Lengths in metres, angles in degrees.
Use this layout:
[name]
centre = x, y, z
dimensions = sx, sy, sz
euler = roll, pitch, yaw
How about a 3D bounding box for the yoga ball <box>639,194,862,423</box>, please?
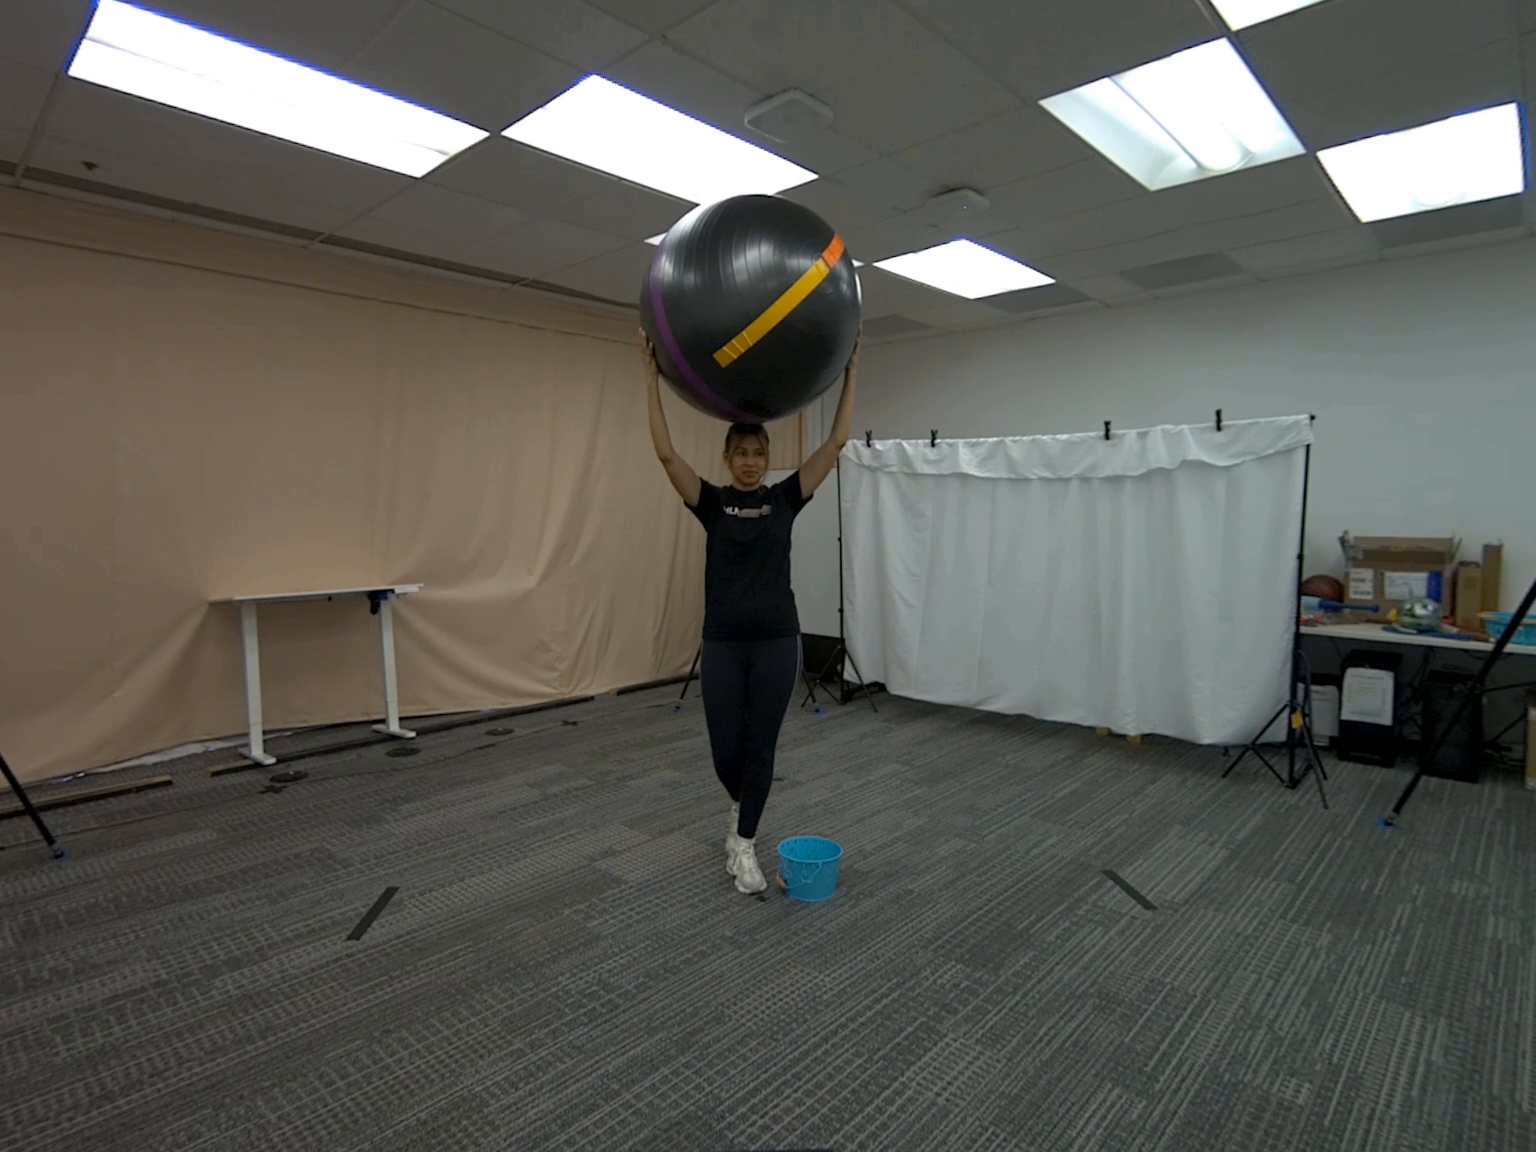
[yoga ball]
centre = -0.056, -0.898, 2.879
dimensions = 0.757, 0.756, 0.760
euler = 0, 4, -2
